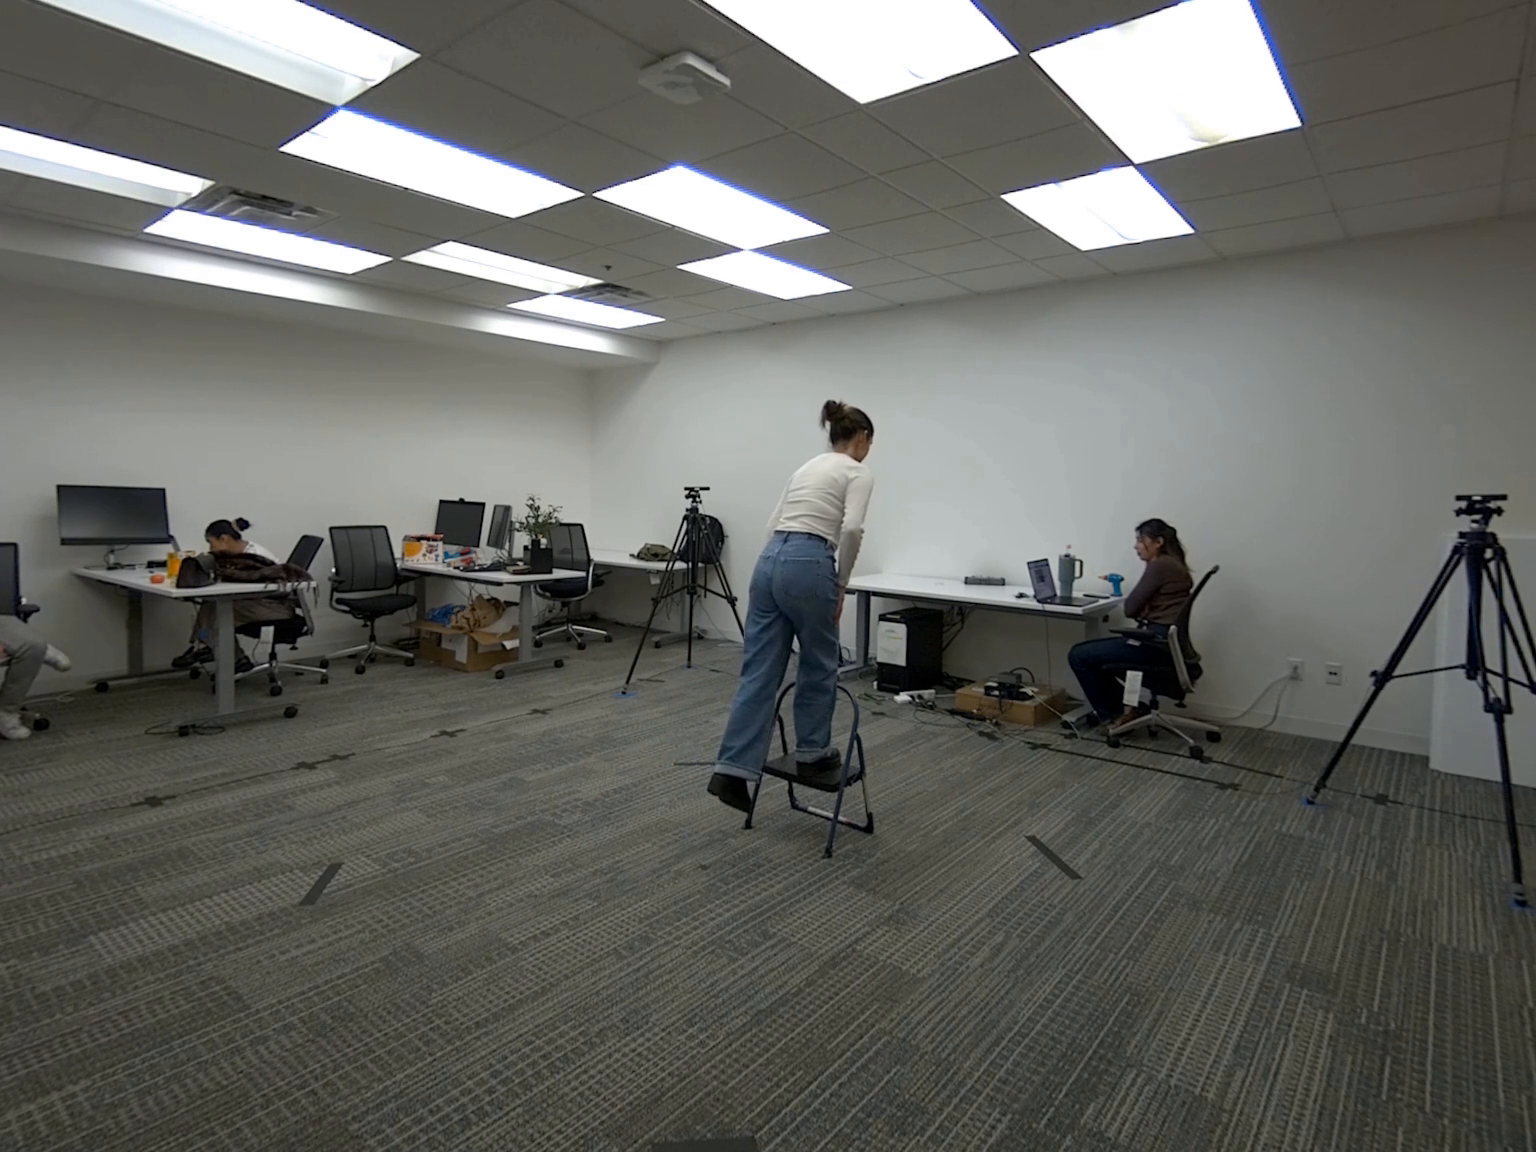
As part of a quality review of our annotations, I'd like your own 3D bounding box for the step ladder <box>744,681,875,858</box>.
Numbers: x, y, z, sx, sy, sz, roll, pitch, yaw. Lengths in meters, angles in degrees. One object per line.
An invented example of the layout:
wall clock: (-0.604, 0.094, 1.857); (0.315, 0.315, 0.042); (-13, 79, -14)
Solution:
step ladder: (0.167, 0.735, 3.464); (0.445, 0.604, 0.339); (4, 4, 39)
